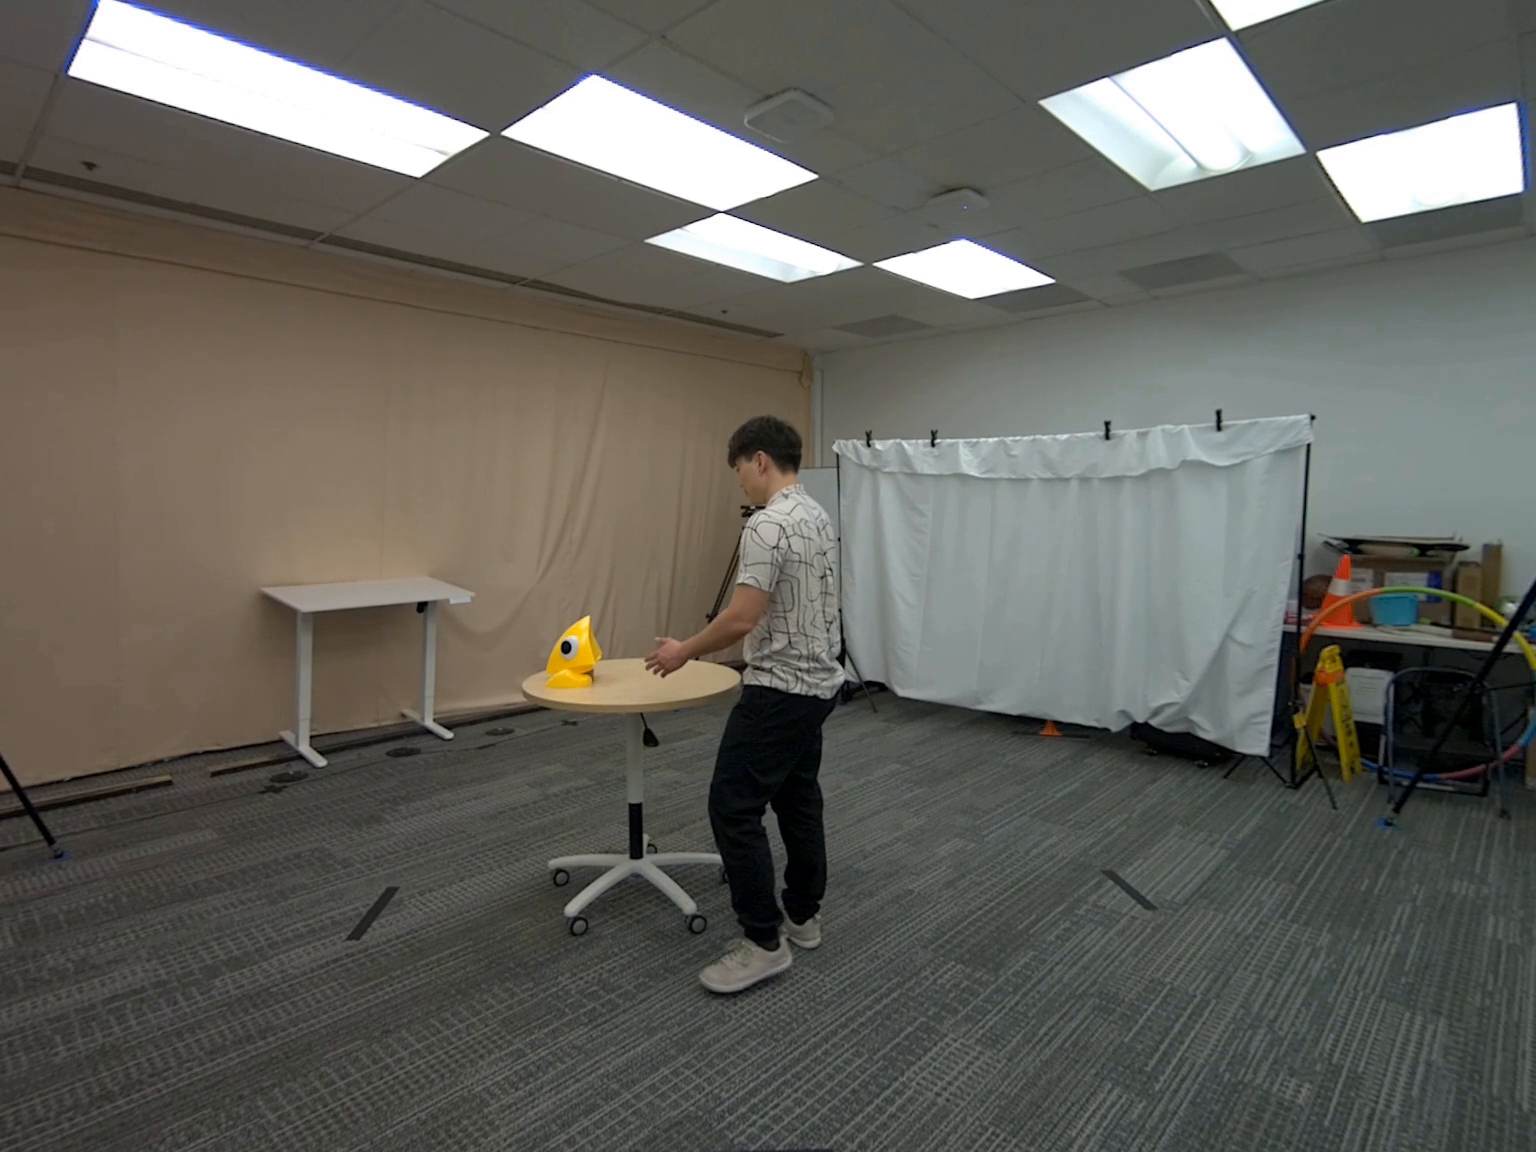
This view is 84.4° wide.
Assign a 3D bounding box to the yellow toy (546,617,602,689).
[{"bbox_3d":[-0.693,0.257,2.940,0.193,0.230,0.206,-1,4,-3],"label":"yellow toy"}]
